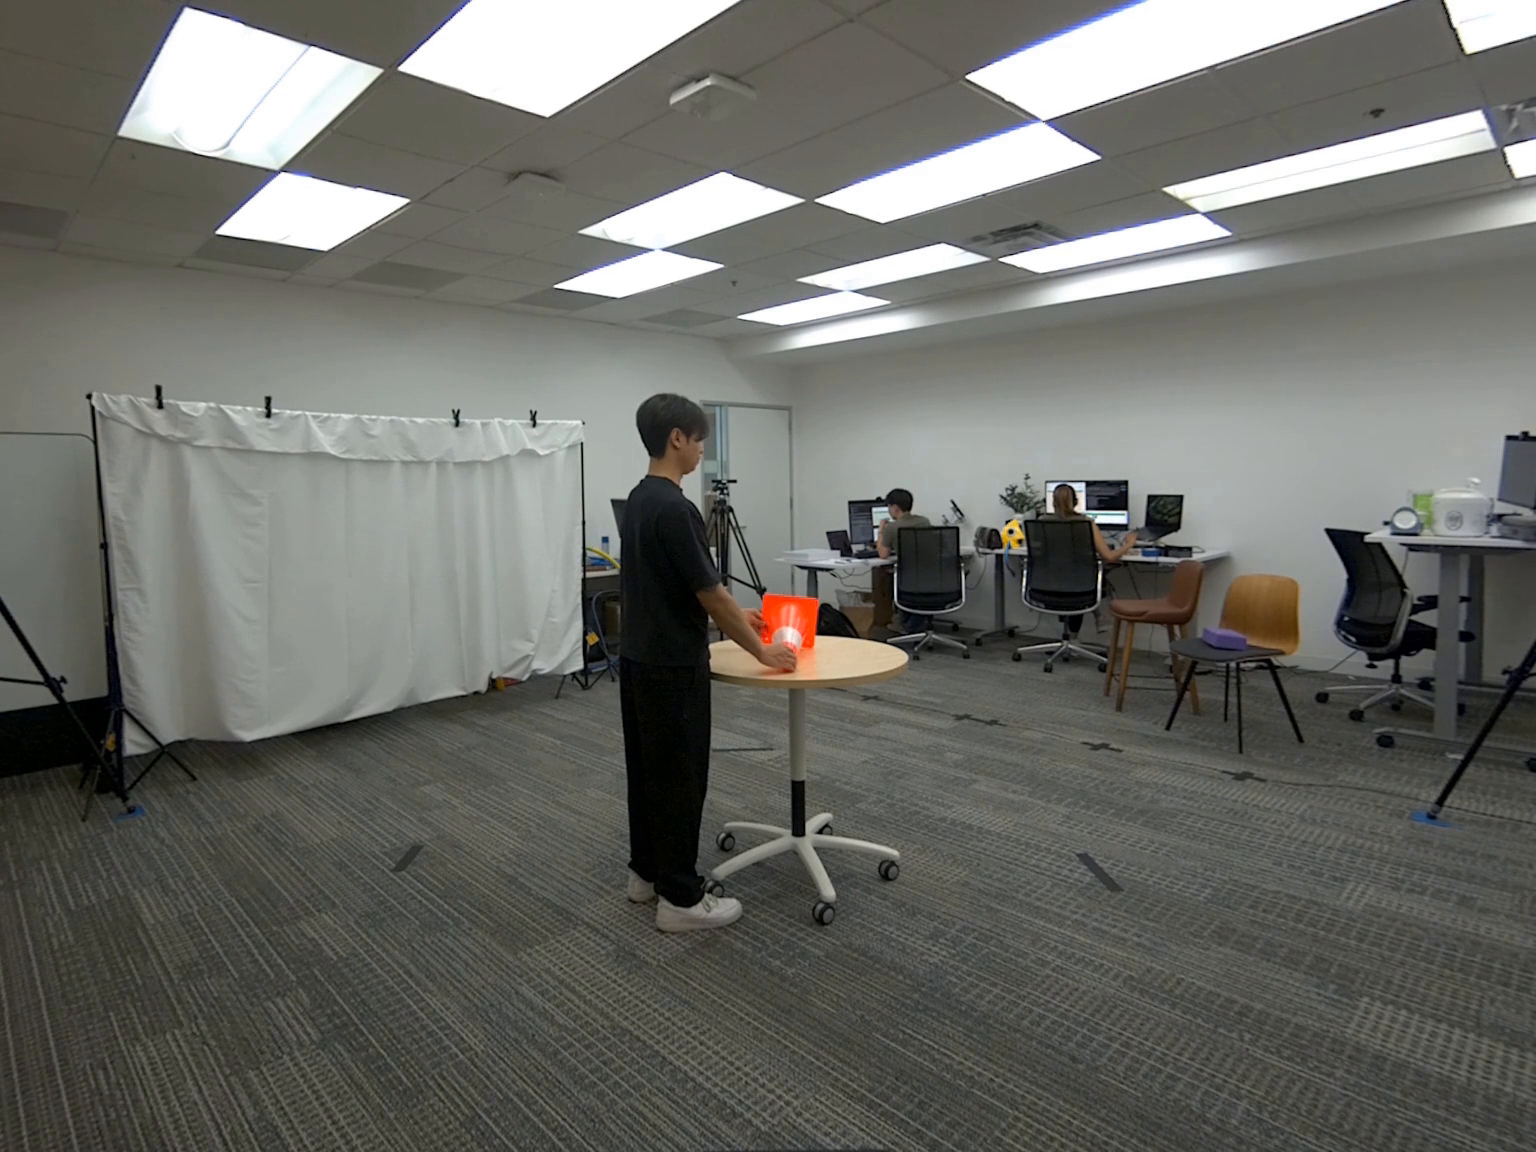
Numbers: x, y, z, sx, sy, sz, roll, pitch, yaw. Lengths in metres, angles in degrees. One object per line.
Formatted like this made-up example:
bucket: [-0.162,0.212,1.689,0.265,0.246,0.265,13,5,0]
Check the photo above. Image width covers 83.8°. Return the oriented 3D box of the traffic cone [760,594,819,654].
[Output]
traffic cone: [0.079,0.223,2.886,0.202,0.202,0.390,3,16,-5]
